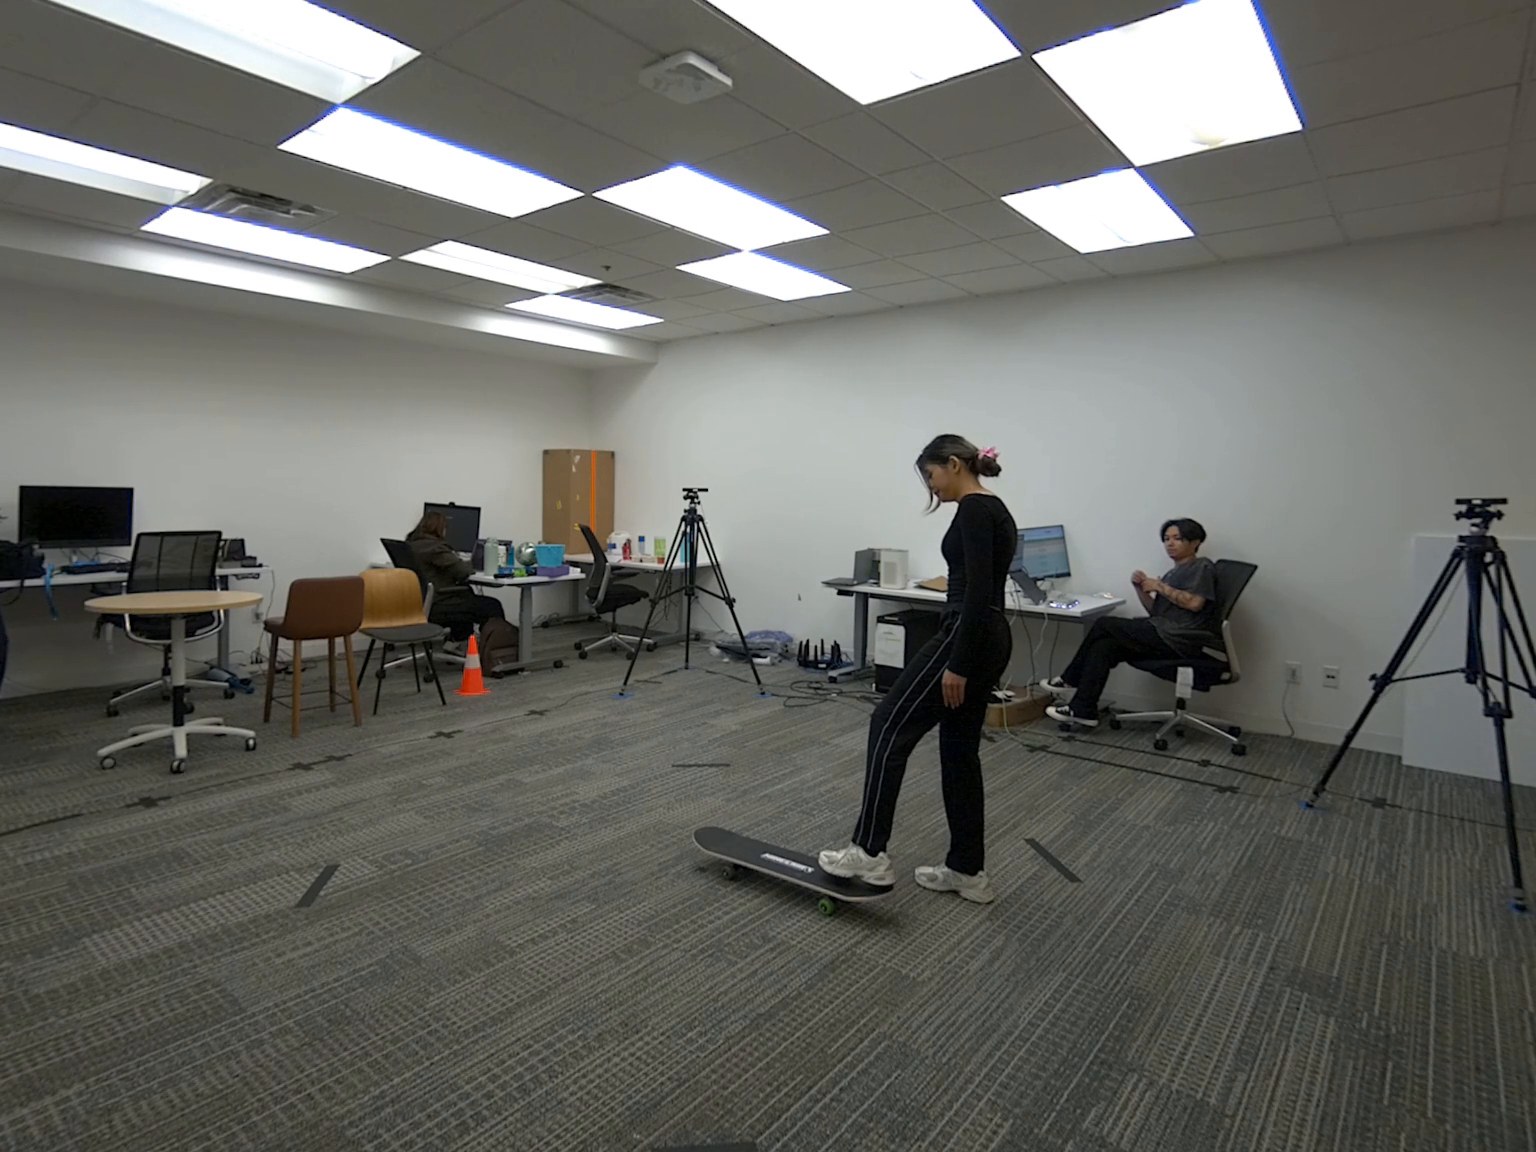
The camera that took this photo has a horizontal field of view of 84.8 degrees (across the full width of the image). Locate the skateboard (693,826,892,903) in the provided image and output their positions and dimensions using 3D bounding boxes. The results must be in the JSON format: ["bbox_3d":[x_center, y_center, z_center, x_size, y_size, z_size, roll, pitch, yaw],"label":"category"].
[{"bbox_3d":[0.062,1.033,2.977,0.811,0.110,0.188,6,7,35],"label":"skateboard"}]
